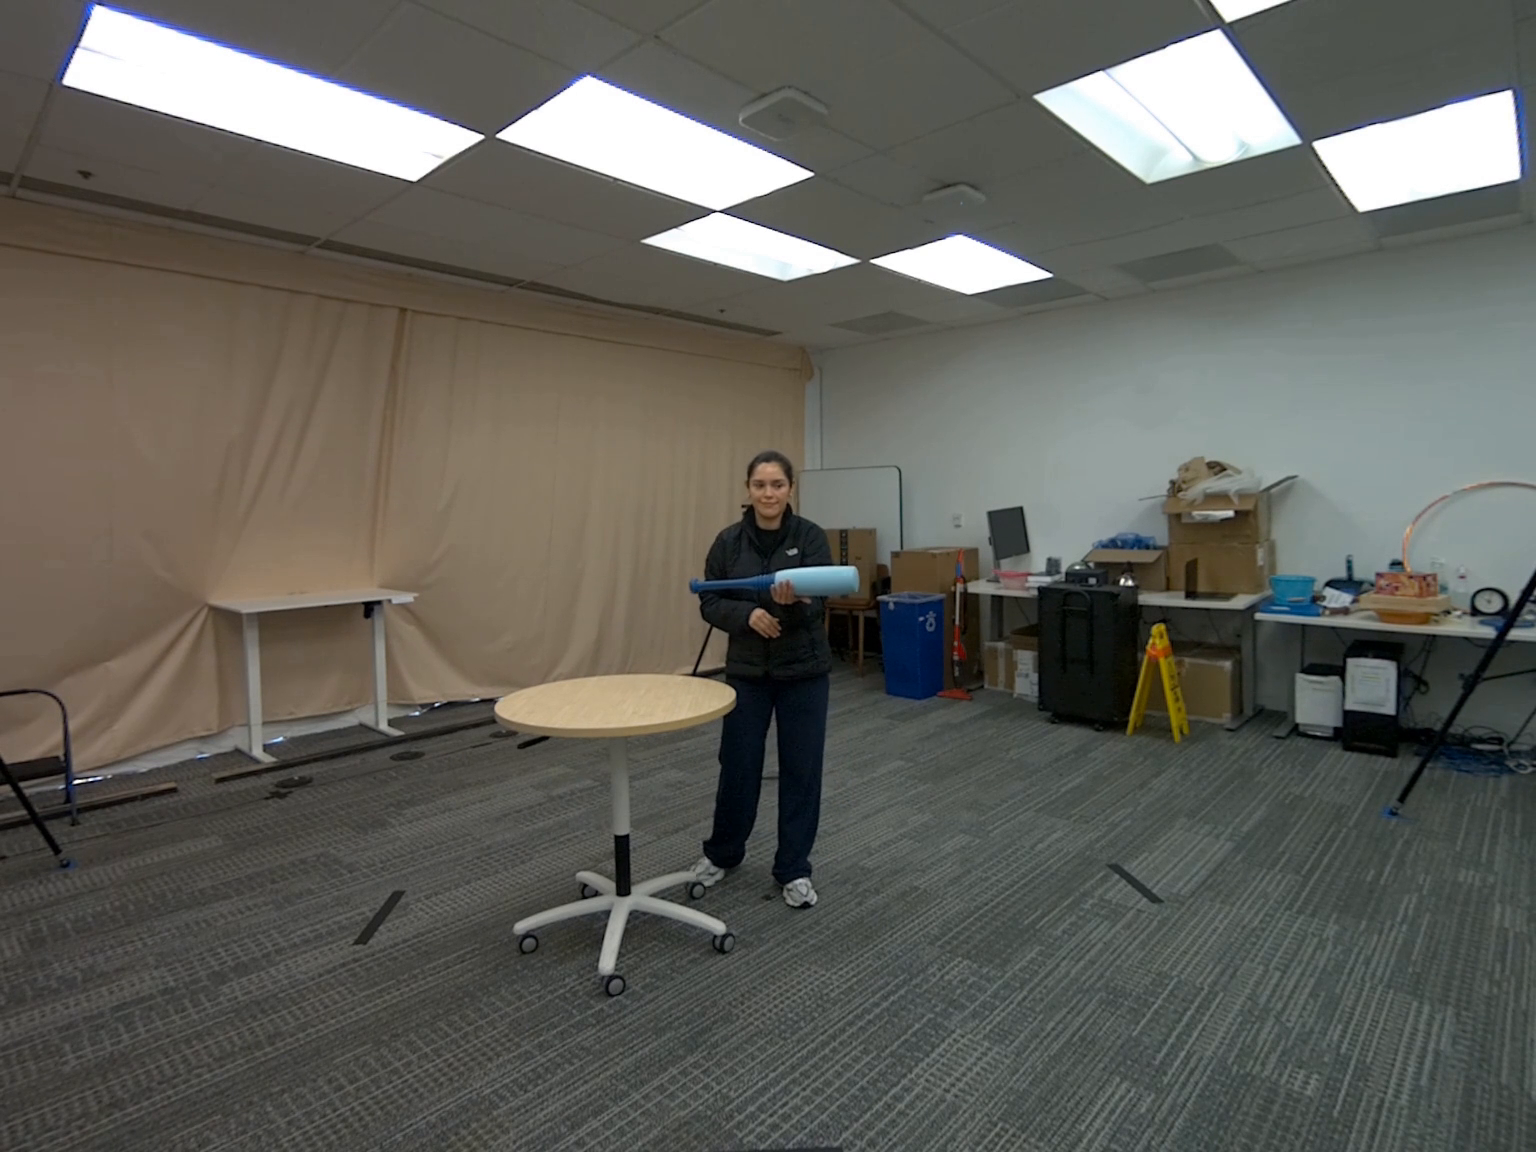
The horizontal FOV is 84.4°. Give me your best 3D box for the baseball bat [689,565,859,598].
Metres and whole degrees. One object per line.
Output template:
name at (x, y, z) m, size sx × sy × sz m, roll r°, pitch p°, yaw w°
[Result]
baseball bat at (0.007, 0.022, 2.613) m, size 0.553 × 0.089 × 0.087 m, roll -2°, pitch 3°, yaw 17°
